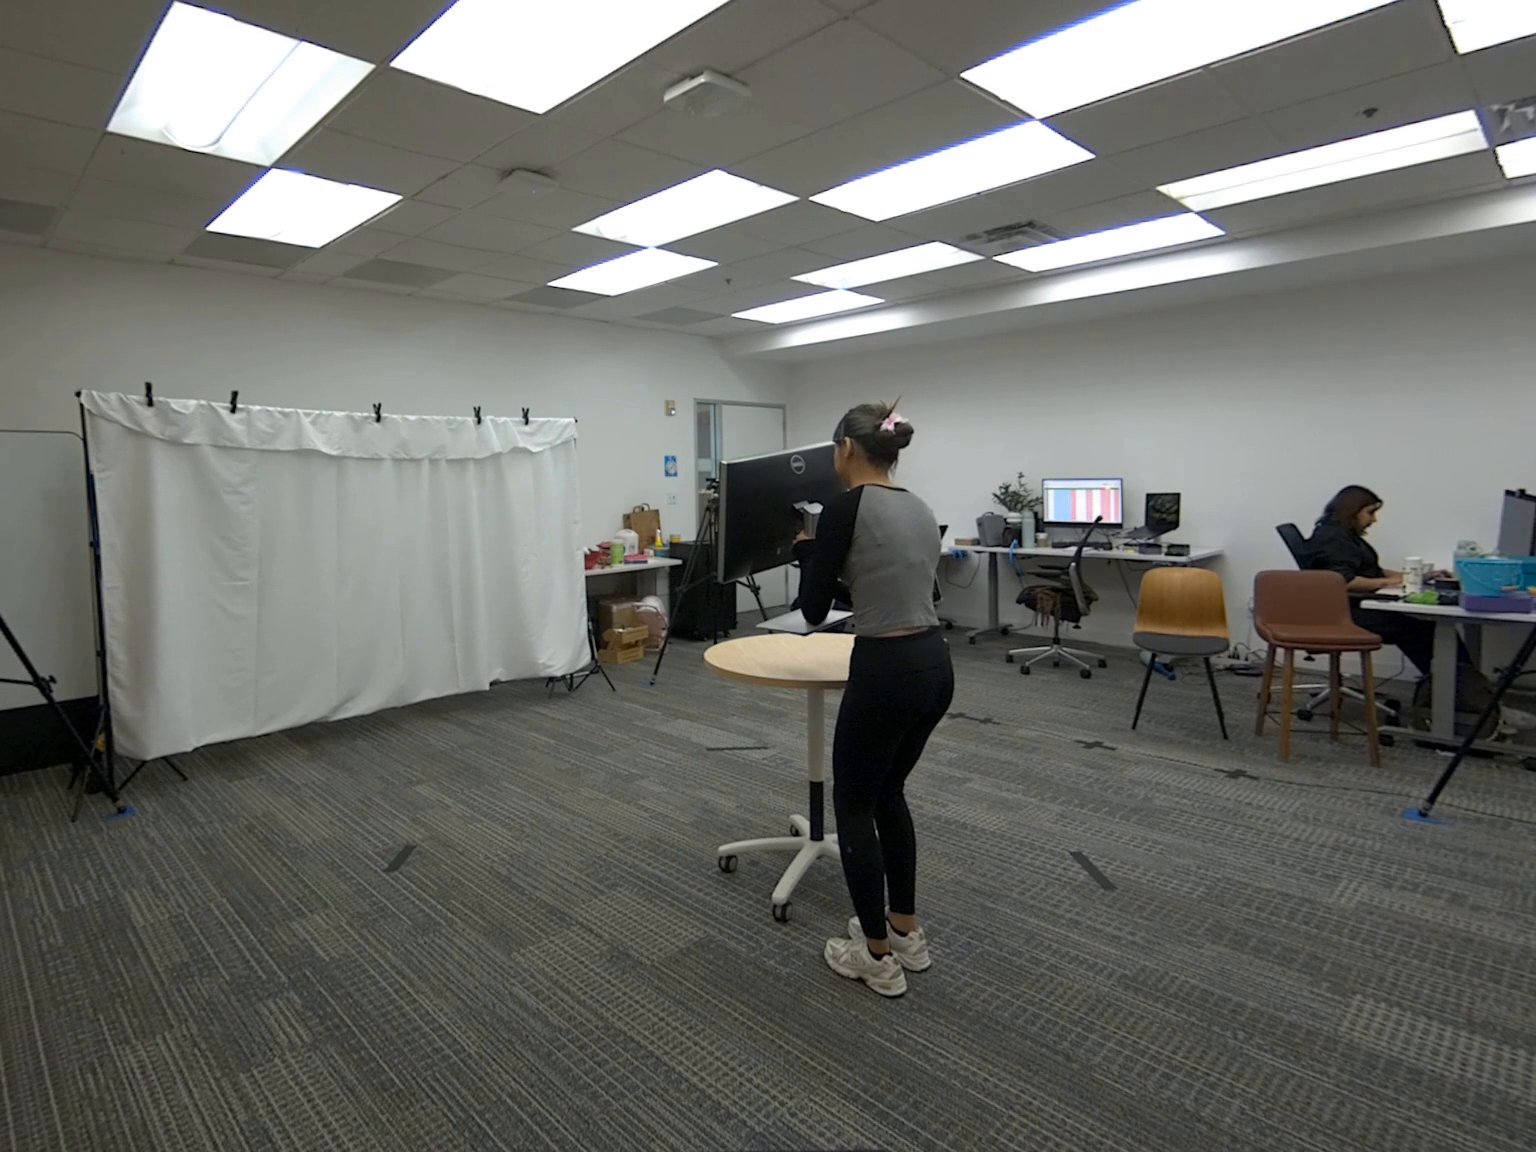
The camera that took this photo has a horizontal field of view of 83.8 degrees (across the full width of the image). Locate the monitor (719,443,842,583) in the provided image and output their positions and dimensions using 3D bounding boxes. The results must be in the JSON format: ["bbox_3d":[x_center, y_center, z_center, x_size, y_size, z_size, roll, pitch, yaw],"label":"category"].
[{"bbox_3d":[0.098,-0.119,2.609,0.193,0.518,0.527,3,13,45],"label":"monitor"}]
